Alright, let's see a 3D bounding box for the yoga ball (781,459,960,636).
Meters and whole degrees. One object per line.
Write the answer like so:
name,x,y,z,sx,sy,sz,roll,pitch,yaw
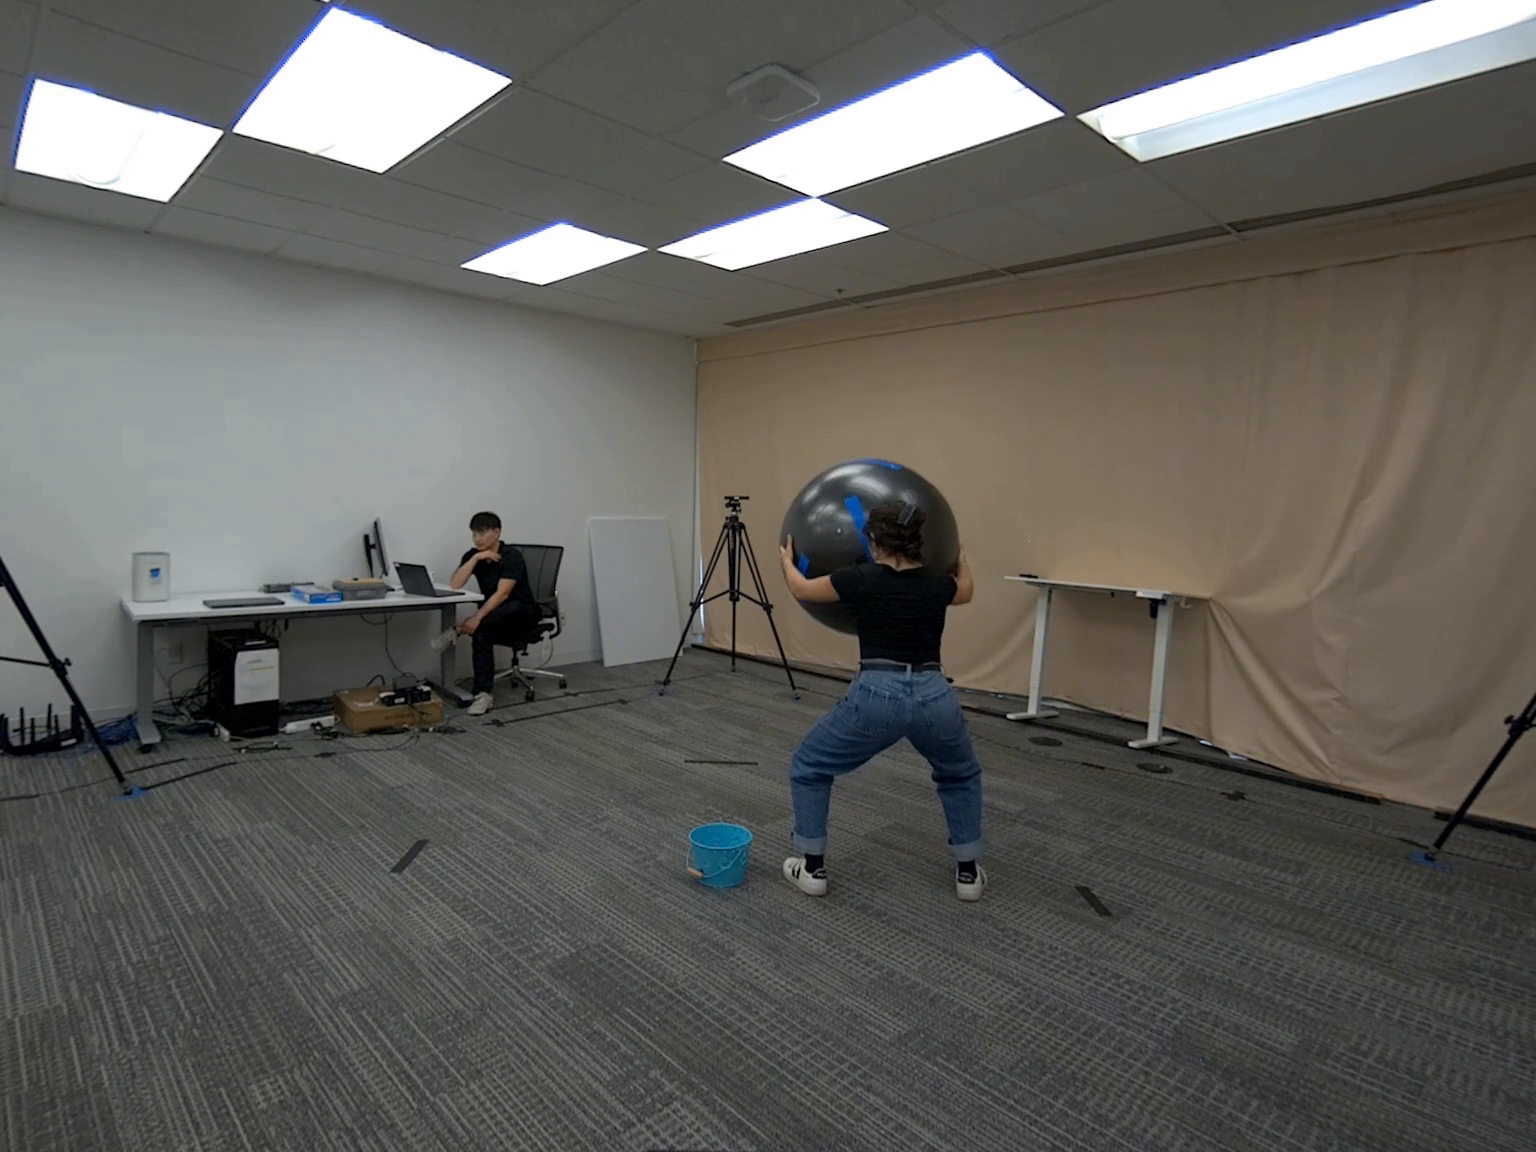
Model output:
yoga ball,0.427,-0.109,3.600,0.757,0.756,0.760,1,4,-1
